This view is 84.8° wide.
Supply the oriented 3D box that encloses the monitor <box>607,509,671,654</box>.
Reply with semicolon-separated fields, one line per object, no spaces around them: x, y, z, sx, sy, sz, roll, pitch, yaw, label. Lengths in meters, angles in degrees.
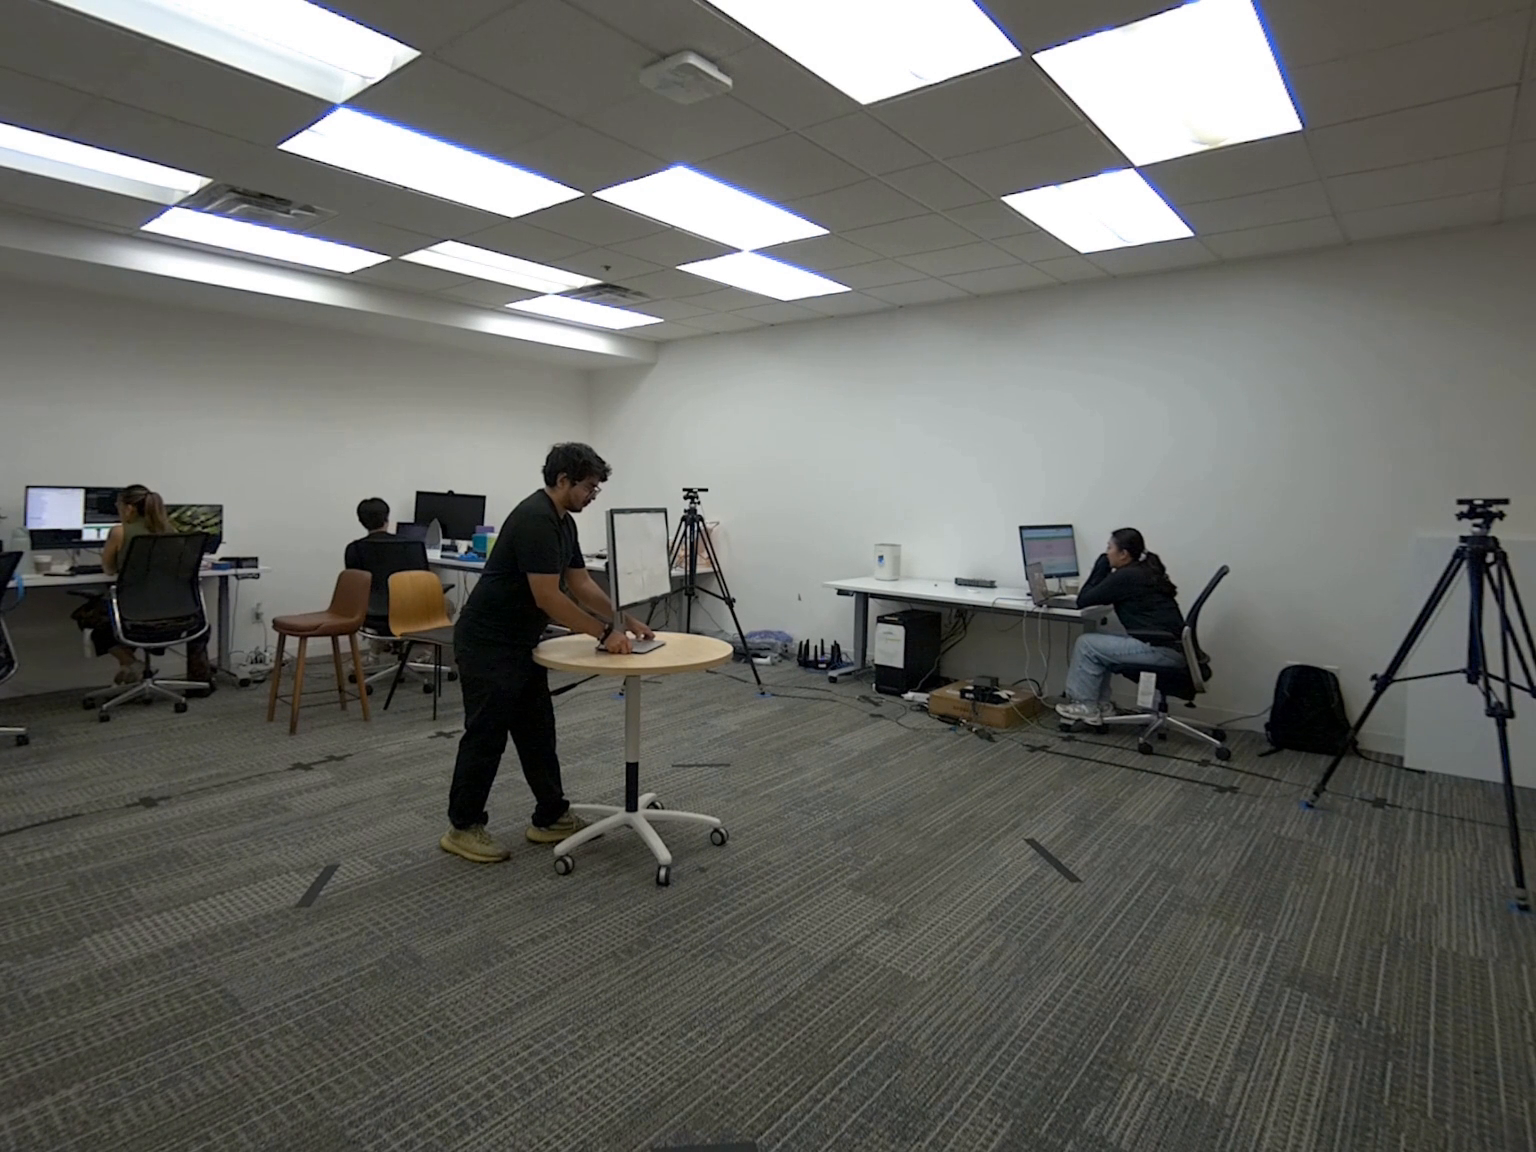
-0.560;0.010;3.265;0.214;0.553;0.557;1;3;15;monitor
